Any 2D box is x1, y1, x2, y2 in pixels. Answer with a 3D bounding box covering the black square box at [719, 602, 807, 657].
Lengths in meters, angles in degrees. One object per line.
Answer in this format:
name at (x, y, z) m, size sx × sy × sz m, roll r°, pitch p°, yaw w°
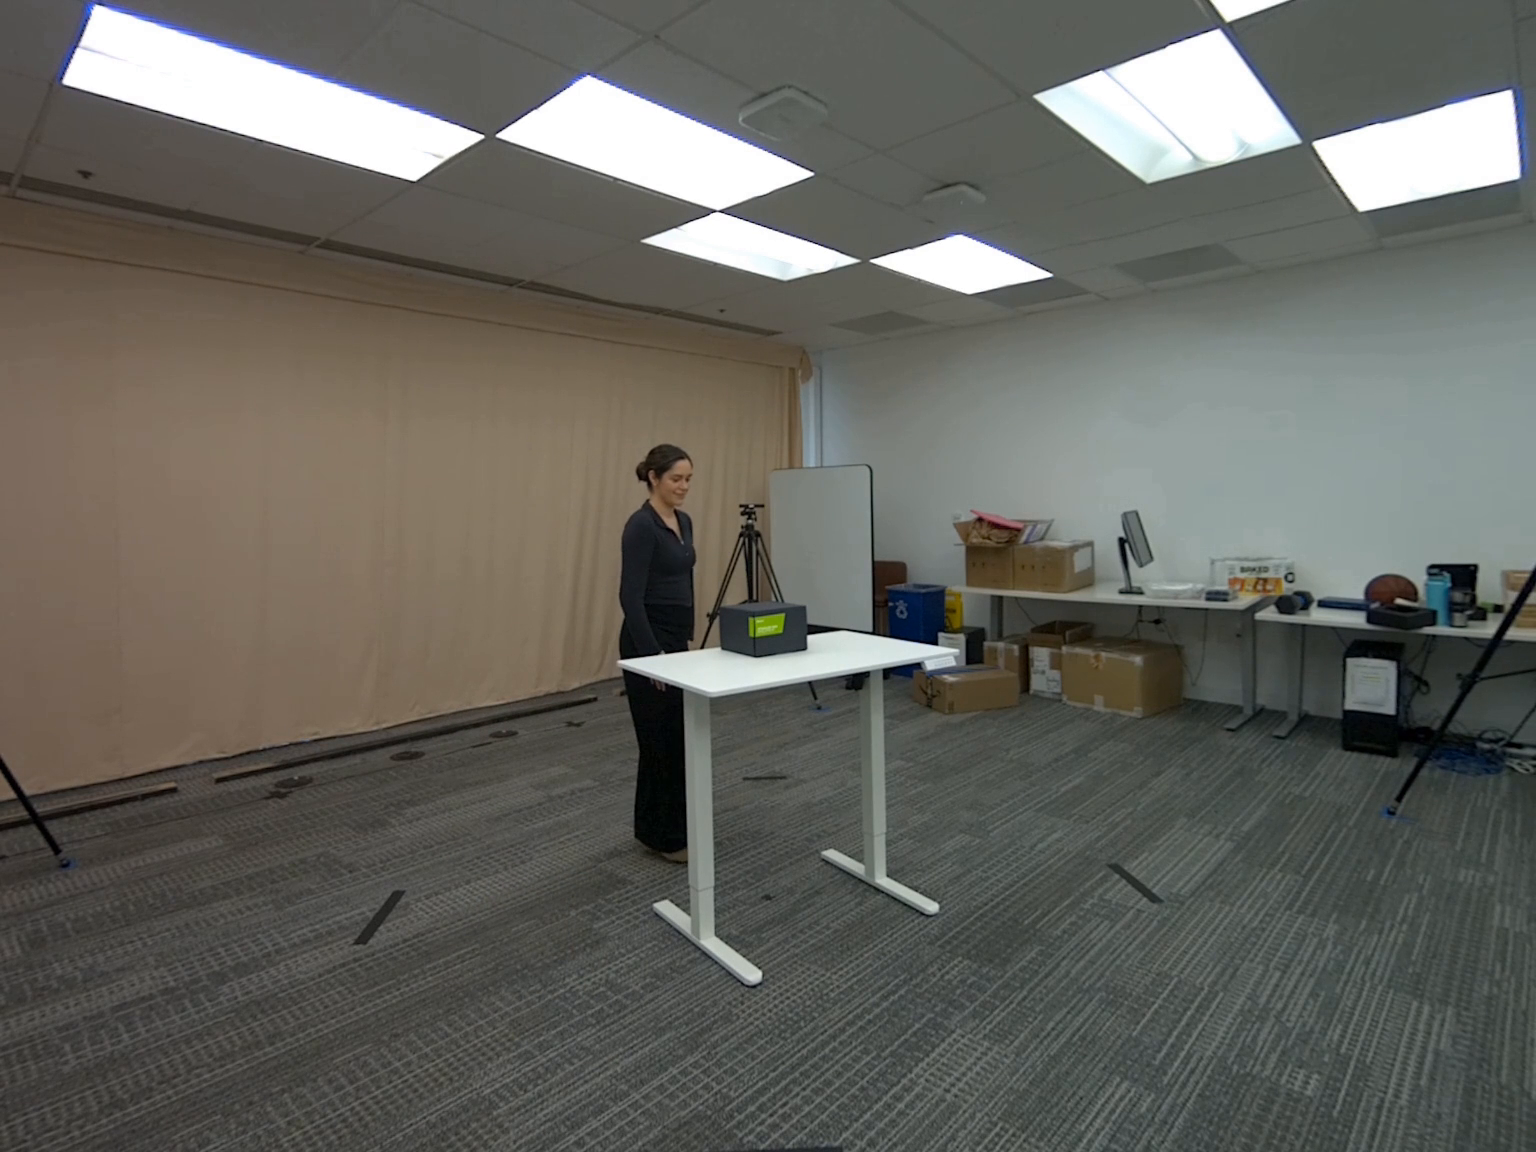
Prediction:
black square box at (-0.011, 0.182, 2.952) m, size 0.221 × 0.155 × 0.224 m, roll -4°, pitch 5°, yaw -35°
